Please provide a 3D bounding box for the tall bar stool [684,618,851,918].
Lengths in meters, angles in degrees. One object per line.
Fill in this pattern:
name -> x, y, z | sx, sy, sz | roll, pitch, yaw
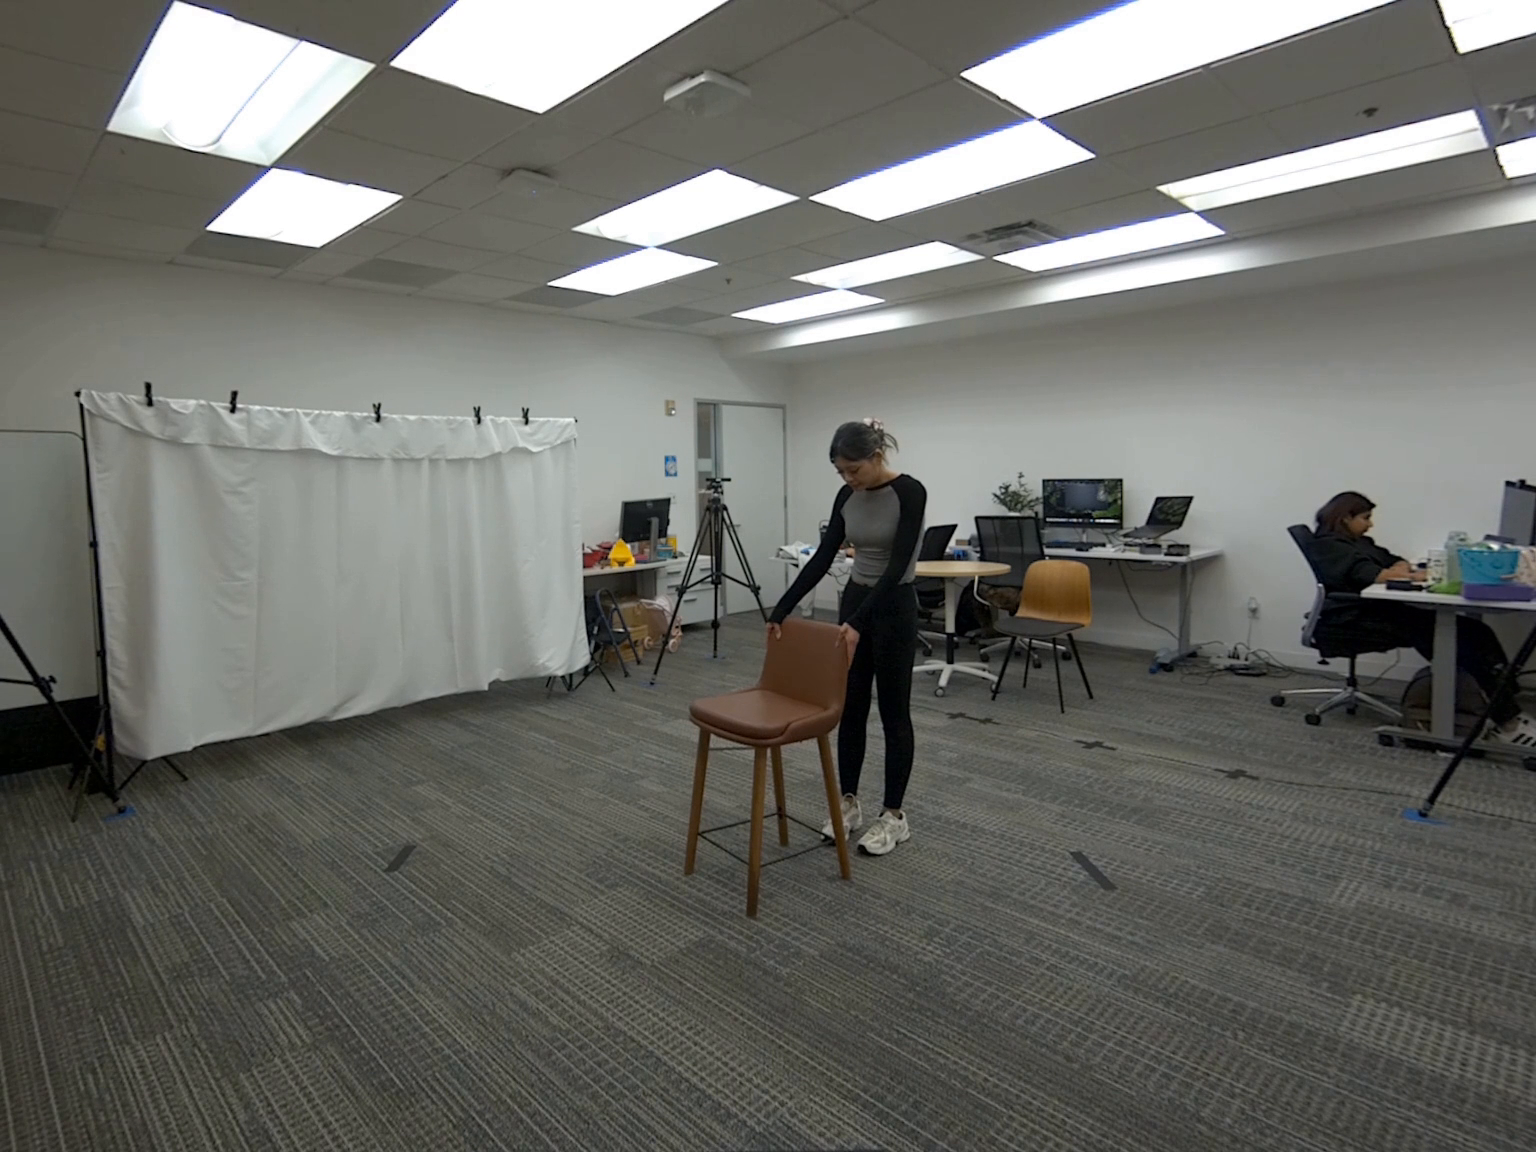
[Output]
tall bar stool -> 0.008, 0.617, 2.975 | 0.455, 0.888, 0.470 | 0, 2, -36
